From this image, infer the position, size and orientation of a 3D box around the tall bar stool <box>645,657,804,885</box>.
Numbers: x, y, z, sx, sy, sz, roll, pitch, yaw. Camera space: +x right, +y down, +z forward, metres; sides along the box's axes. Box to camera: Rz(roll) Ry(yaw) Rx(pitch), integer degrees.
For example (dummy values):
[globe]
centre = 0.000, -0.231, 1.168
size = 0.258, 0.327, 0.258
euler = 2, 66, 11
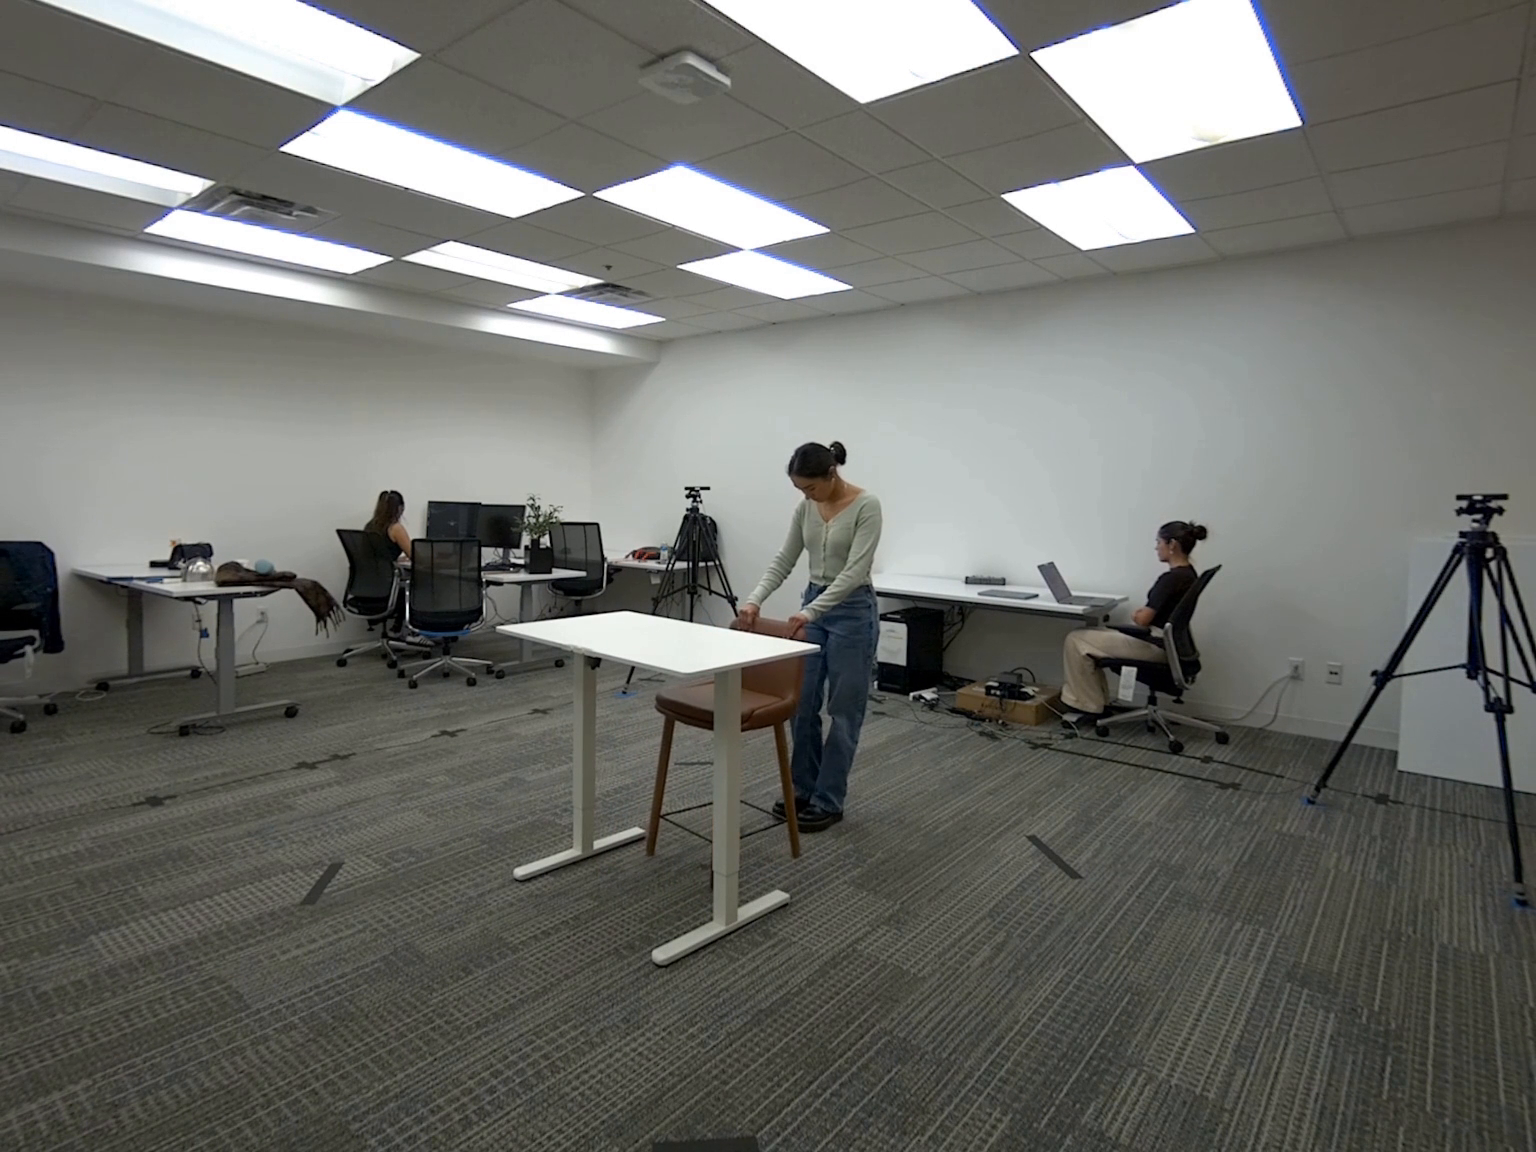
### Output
[tall bar stool]
centre = -0.155, 0.617, 3.205
size = 0.452, 0.889, 0.472
euler = 2, 2, -43
